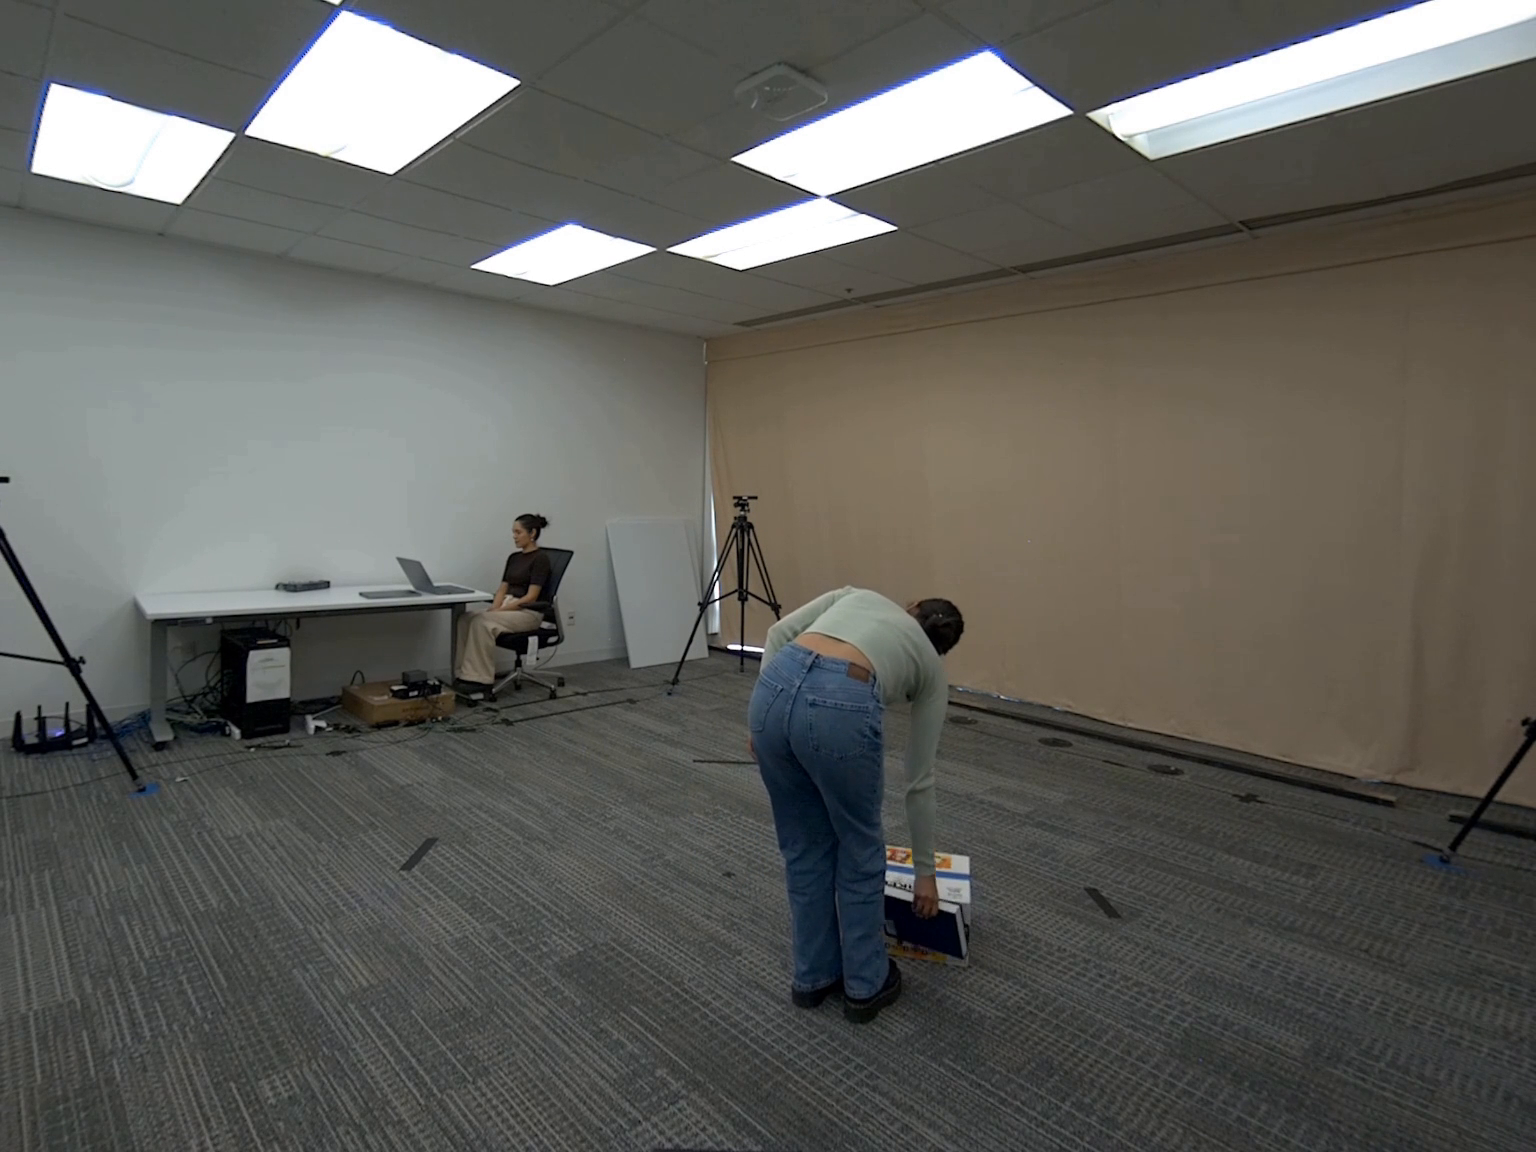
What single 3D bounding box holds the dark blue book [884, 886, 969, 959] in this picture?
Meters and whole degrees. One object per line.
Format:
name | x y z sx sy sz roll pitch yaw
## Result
dark blue book | 0.440 0.999 2.426 0.251 0.161 0.045 0 20 36
